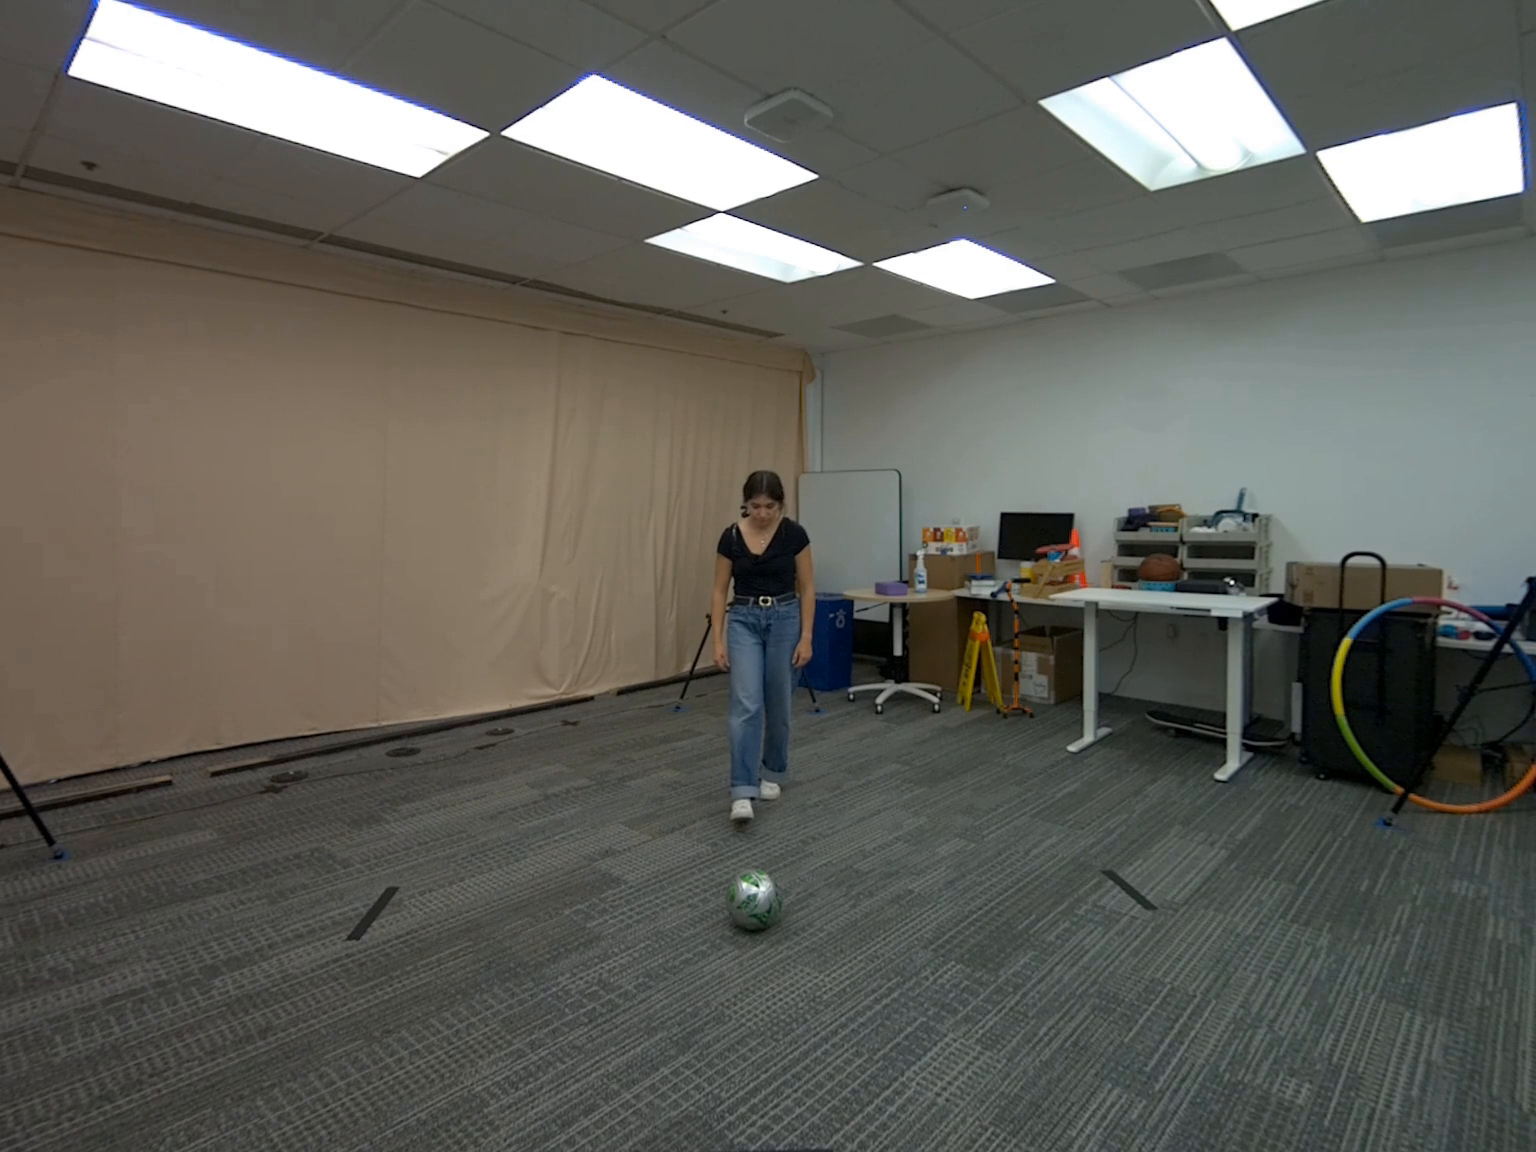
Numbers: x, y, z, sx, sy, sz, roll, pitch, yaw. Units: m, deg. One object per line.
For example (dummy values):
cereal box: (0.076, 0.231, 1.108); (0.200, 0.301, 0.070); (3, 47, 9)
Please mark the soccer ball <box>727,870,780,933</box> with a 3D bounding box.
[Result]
soccer ball: (-0.049, 1.064, 2.783); (0.187, 0.187, 0.188); (0, 4, -2)
